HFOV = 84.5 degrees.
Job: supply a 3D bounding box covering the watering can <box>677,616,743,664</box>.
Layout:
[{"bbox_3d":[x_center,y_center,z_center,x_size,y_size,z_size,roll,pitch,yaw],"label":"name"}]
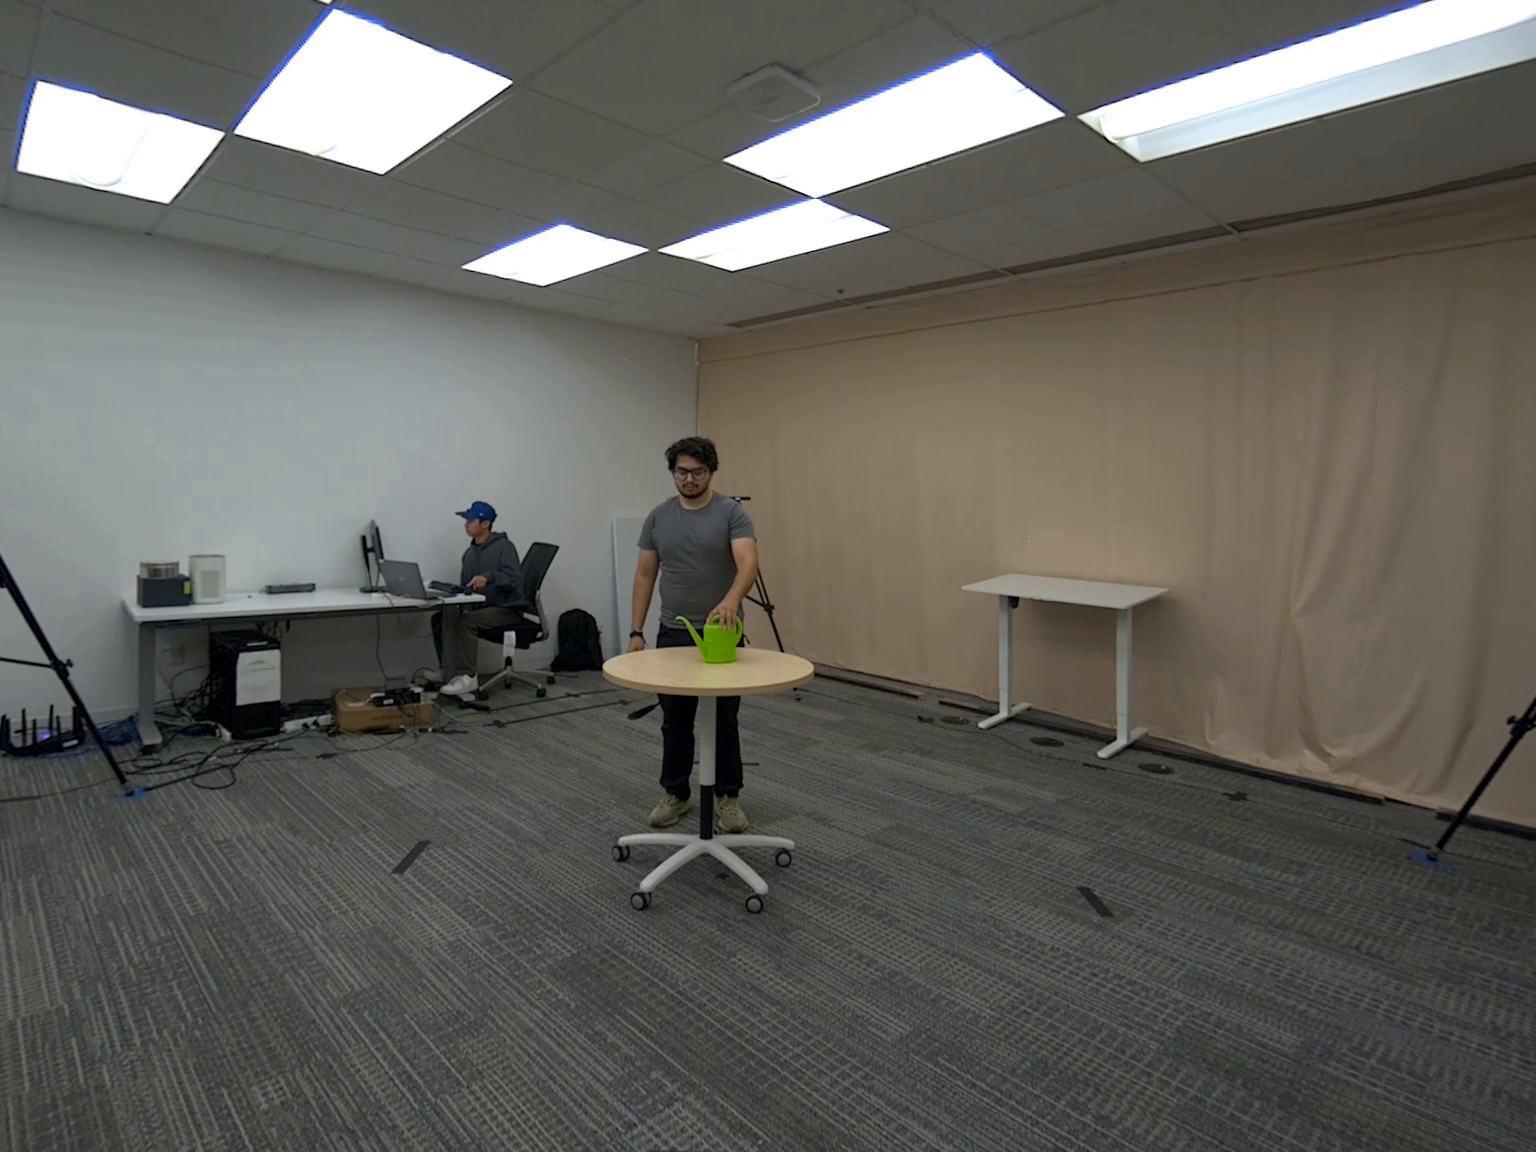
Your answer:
[{"bbox_3d":[-0.236,0.236,3.125,0.274,0.176,0.100,0,2,-21],"label":"watering can"}]
